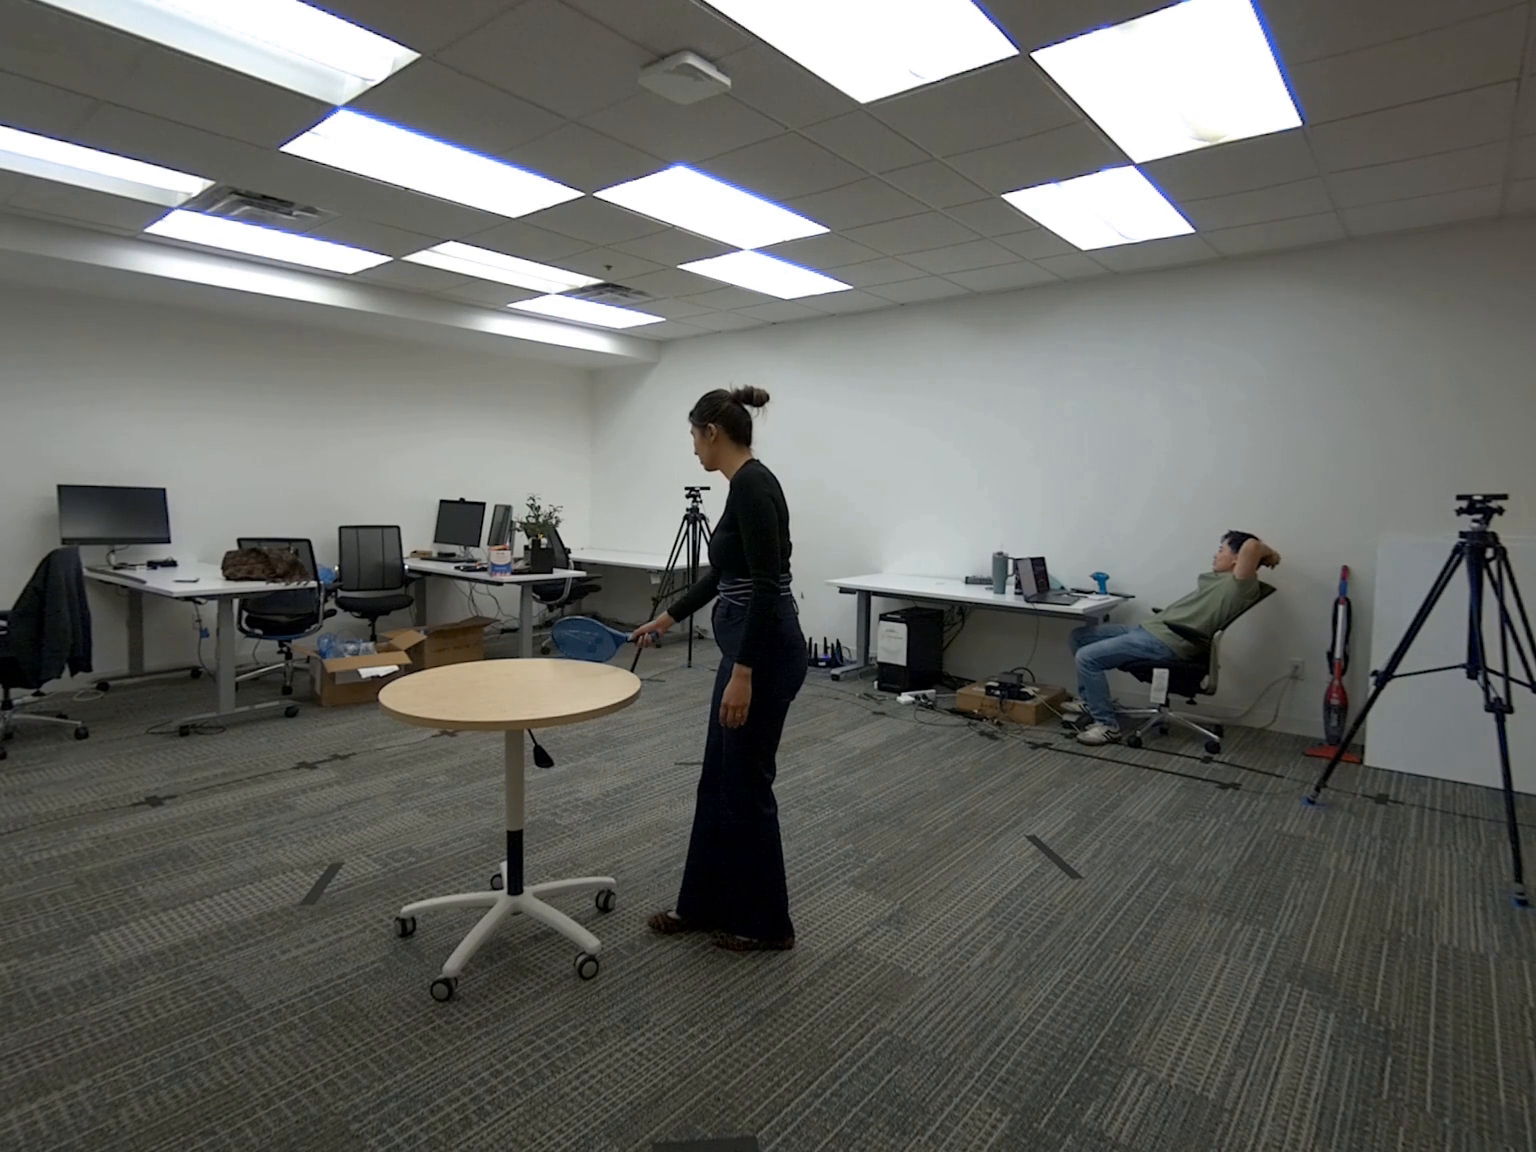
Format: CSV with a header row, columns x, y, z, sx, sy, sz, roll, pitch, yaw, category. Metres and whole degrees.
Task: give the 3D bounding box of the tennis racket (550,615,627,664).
x,y,z,sx,sy,sz,roll,pitch,yaw,category
-0.602,0.235,2.994,0.442,0.207,0.032,-2,30,21,tennis racket
